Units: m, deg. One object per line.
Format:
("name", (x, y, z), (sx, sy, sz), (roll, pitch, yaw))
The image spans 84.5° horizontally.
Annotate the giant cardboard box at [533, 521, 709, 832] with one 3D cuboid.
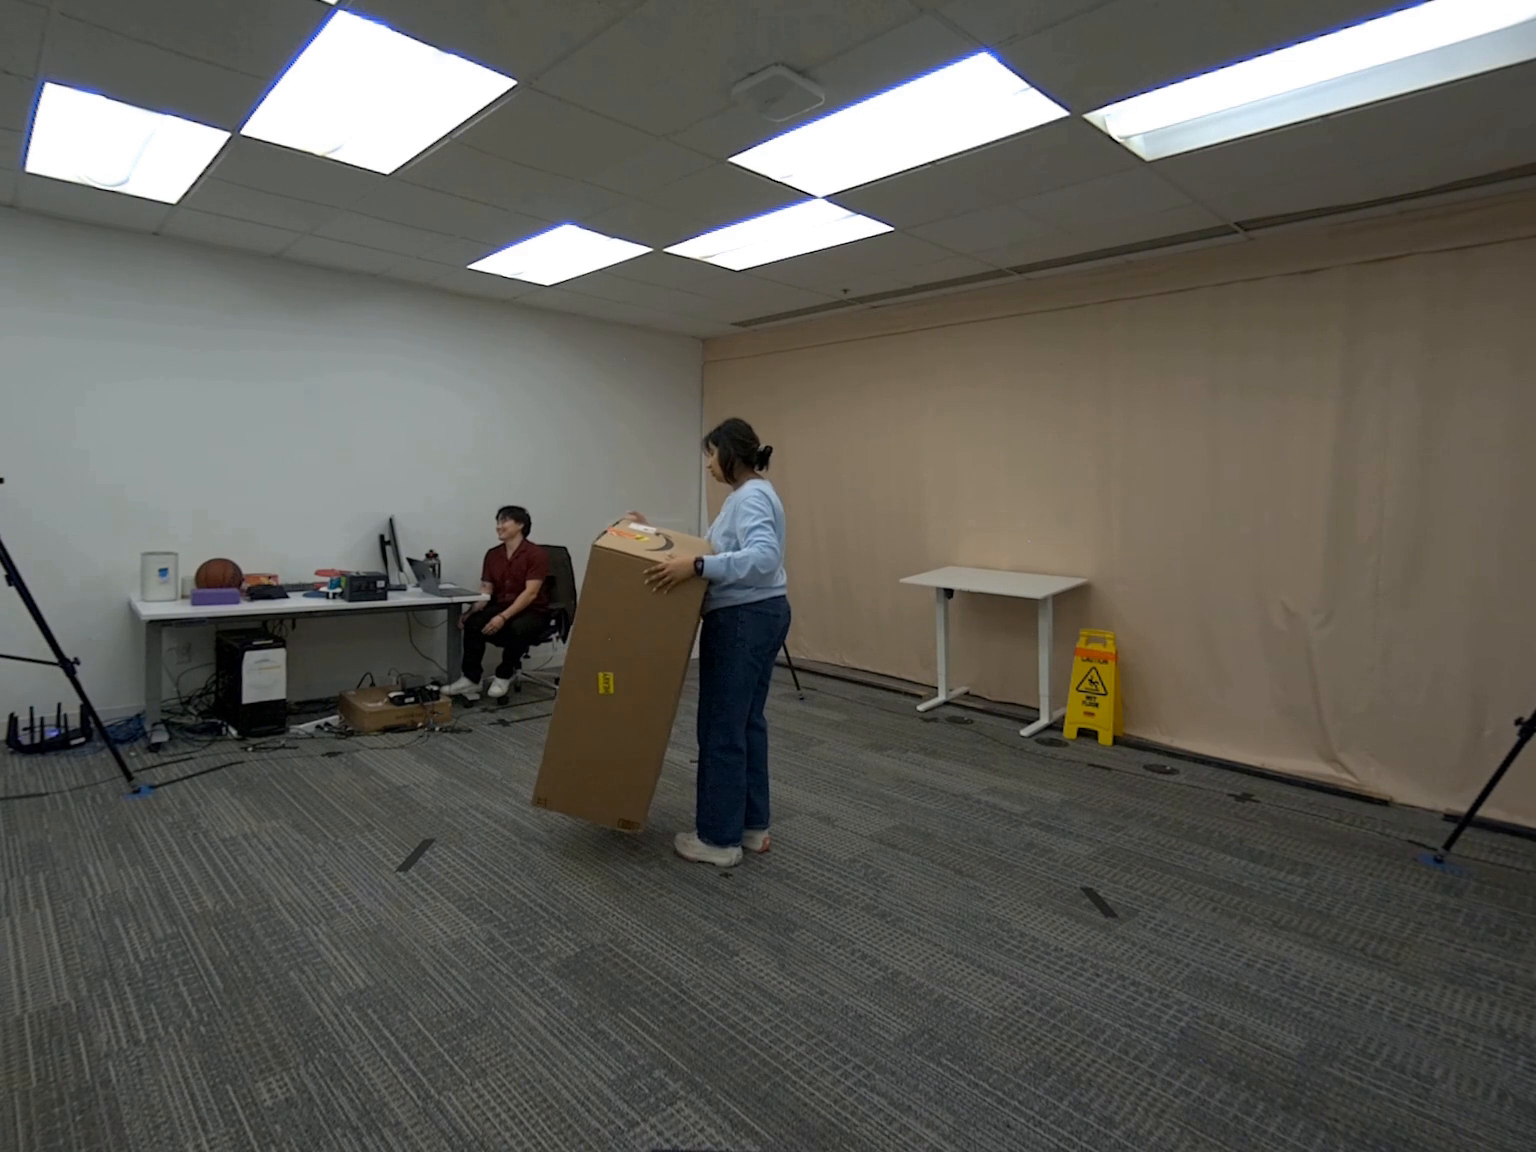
("giant cardboard box", (-0.543, 0.365, 3.269), (0.448, 1.020, 0.587), (15, 12, 1))
